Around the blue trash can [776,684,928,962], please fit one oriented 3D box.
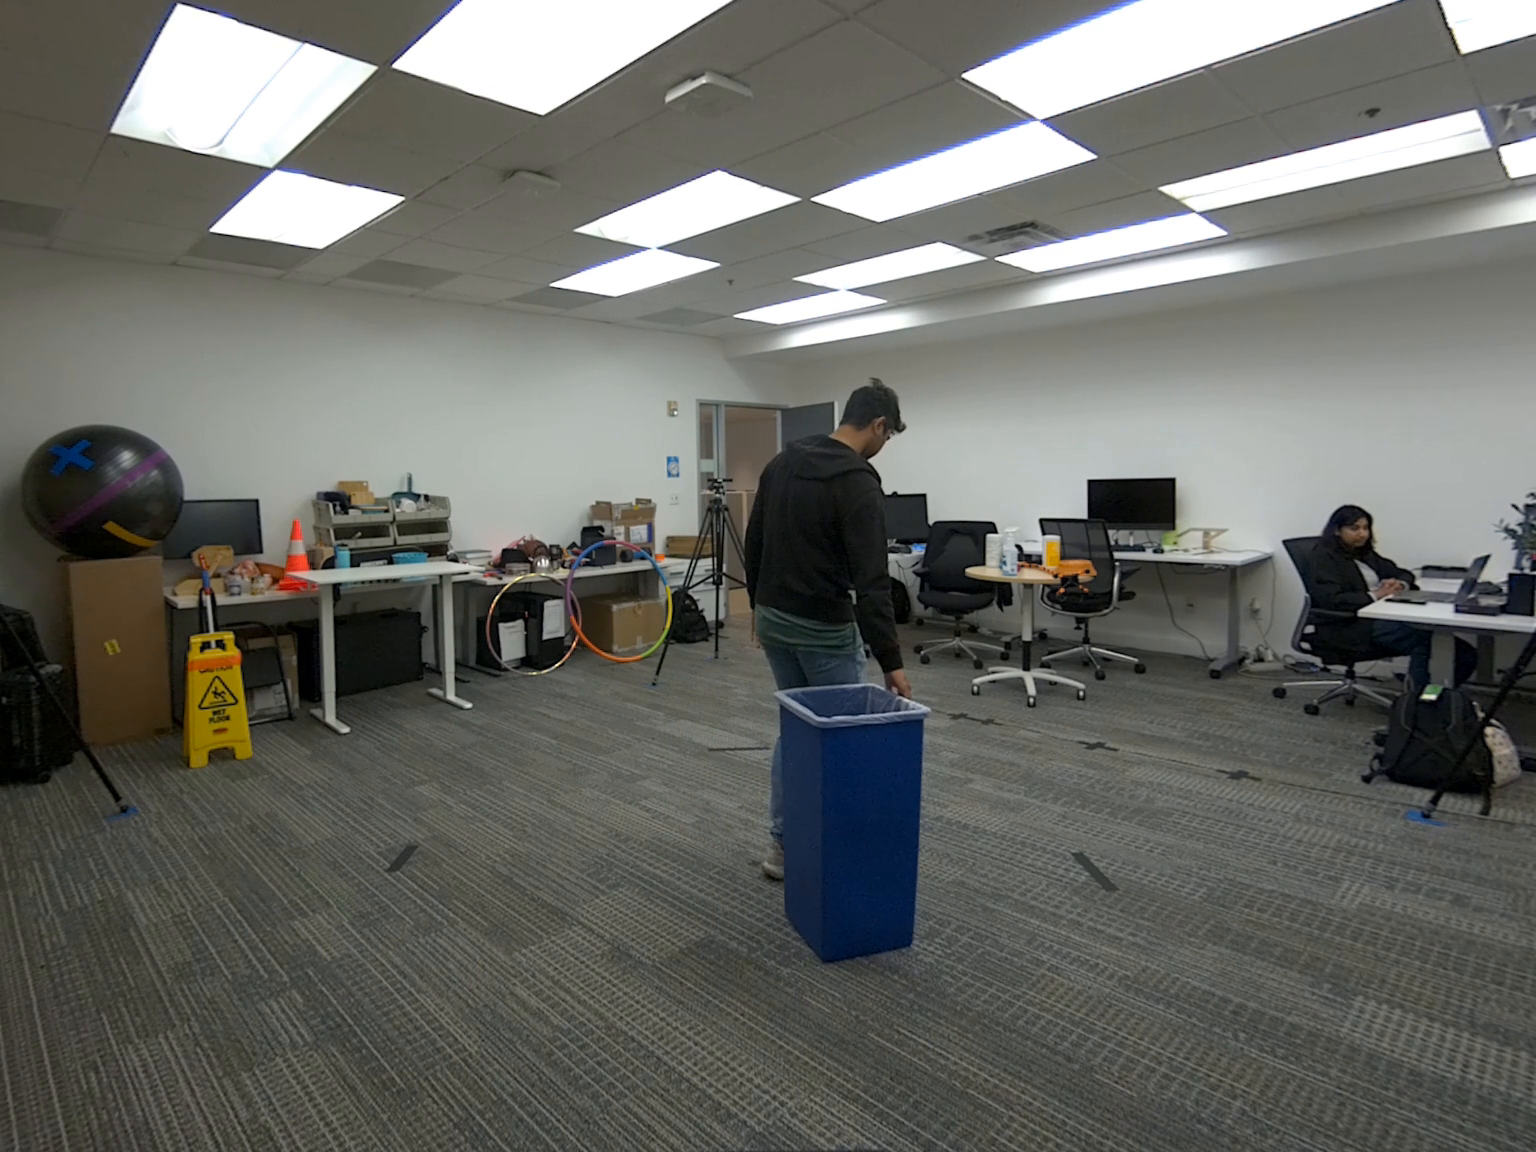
[{"bbox_3d":[0.240,0.736,2.626,0.371,0.711,0.382,-1,4,-22],"label":"blue trash can"}]
